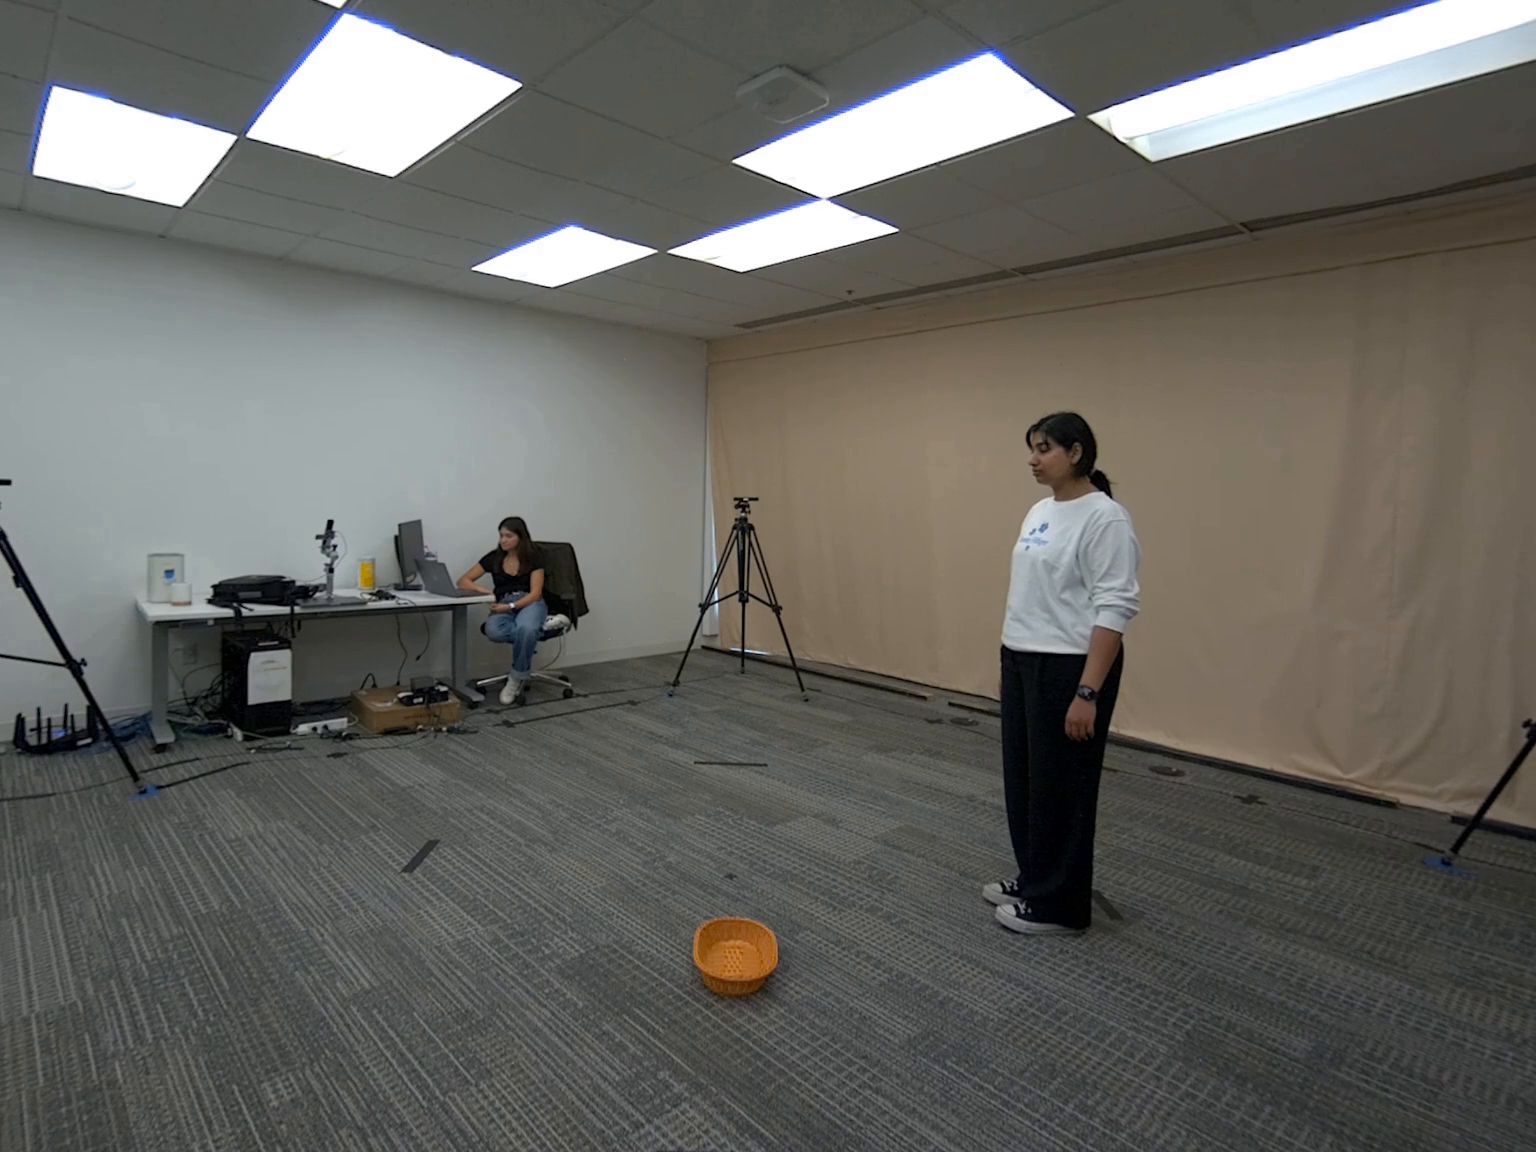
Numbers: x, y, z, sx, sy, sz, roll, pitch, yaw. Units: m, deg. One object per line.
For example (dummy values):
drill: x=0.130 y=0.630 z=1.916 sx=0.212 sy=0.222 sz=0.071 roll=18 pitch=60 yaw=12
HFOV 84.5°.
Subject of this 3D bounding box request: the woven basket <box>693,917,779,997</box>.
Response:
woven basket: x=-0.106 y=1.128 z=2.487 sx=0.253 sy=0.073 sz=0.350 roll=3 pitch=5 yaw=2
